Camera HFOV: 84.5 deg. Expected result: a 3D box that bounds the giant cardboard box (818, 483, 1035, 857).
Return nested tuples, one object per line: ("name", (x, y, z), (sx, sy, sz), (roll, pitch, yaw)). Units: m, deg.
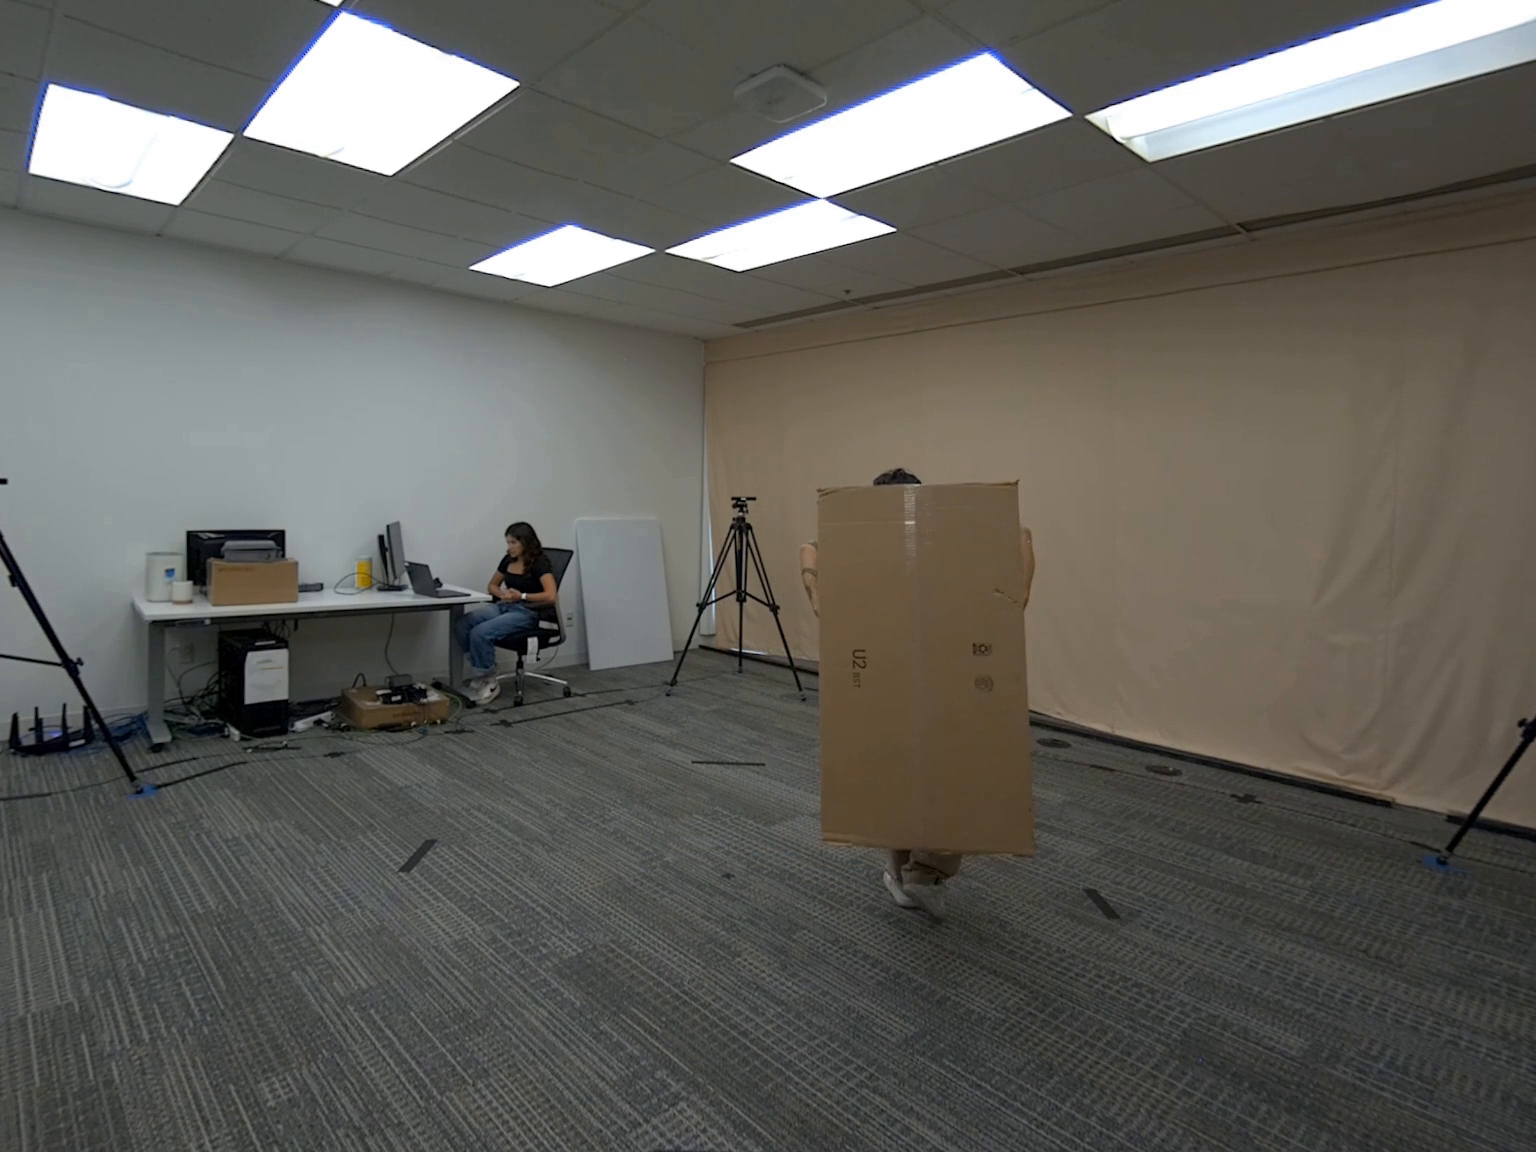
("giant cardboard box", (0.469, 0.270, 2.563), (0.582, 1.032, 0.420), (-2, -8, 10))
